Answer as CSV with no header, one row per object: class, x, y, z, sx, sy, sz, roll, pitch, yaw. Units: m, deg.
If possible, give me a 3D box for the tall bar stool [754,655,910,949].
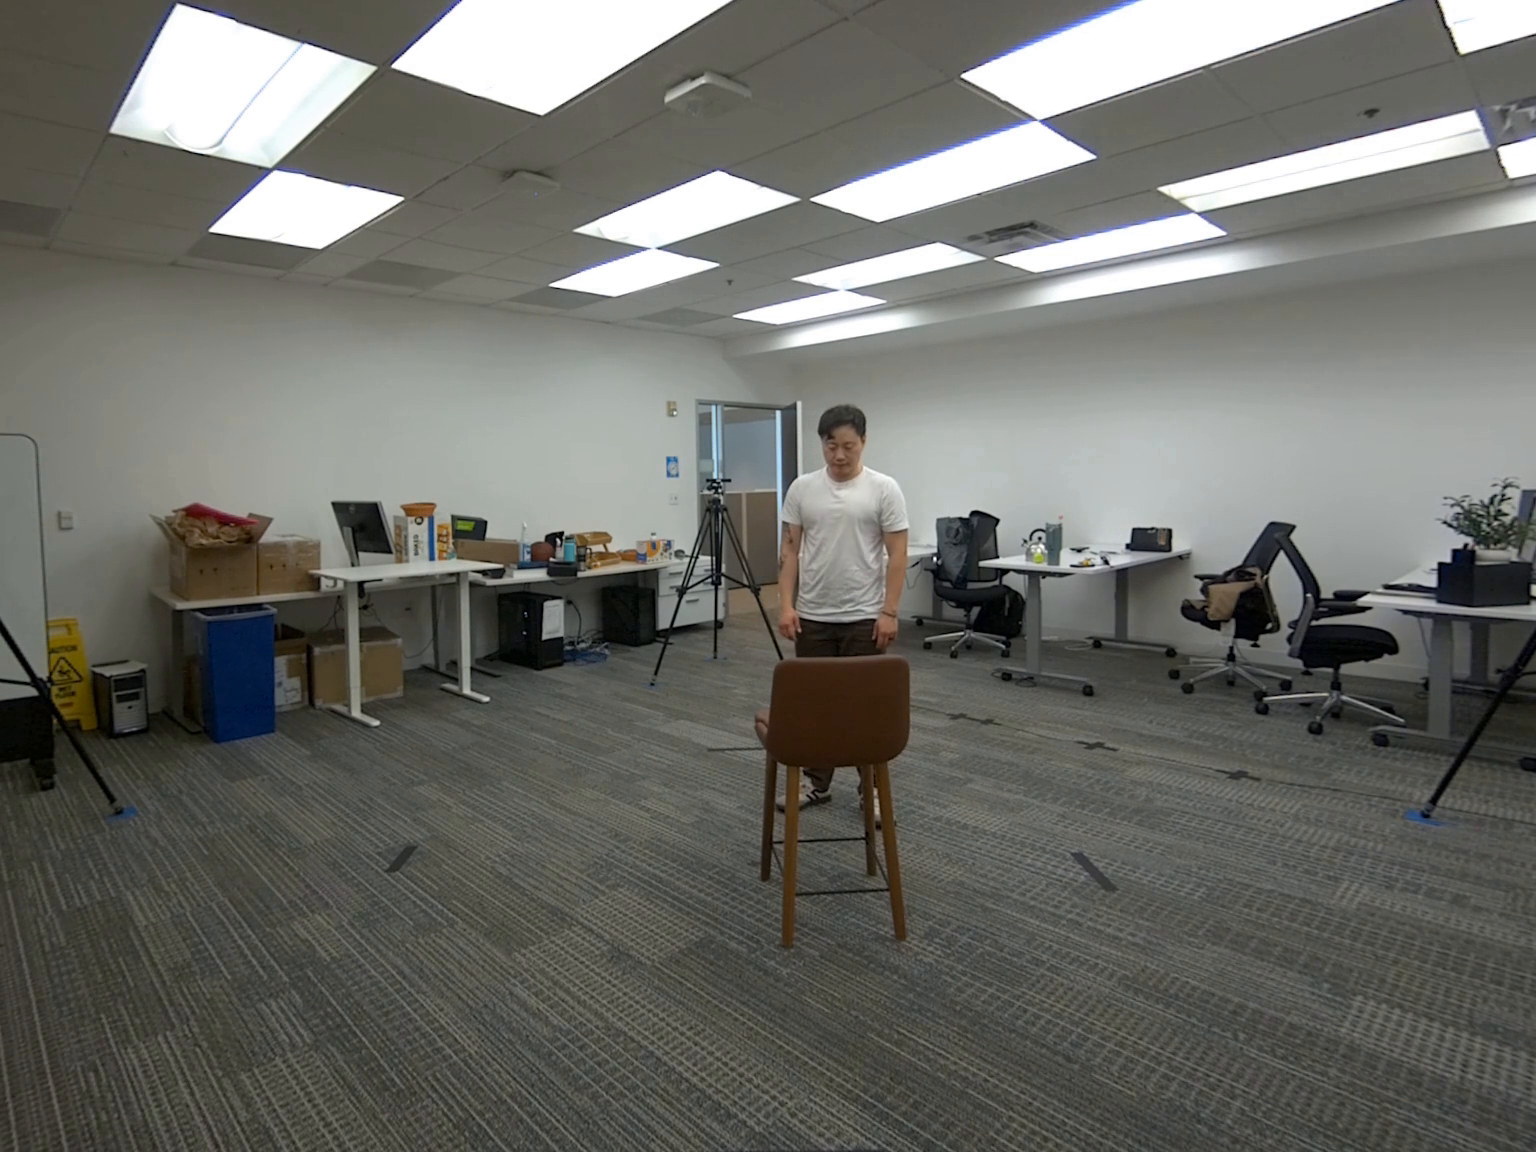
tall bar stool,0.197,0.647,2.748,0.454,0.885,0.473,-2,6,-6
